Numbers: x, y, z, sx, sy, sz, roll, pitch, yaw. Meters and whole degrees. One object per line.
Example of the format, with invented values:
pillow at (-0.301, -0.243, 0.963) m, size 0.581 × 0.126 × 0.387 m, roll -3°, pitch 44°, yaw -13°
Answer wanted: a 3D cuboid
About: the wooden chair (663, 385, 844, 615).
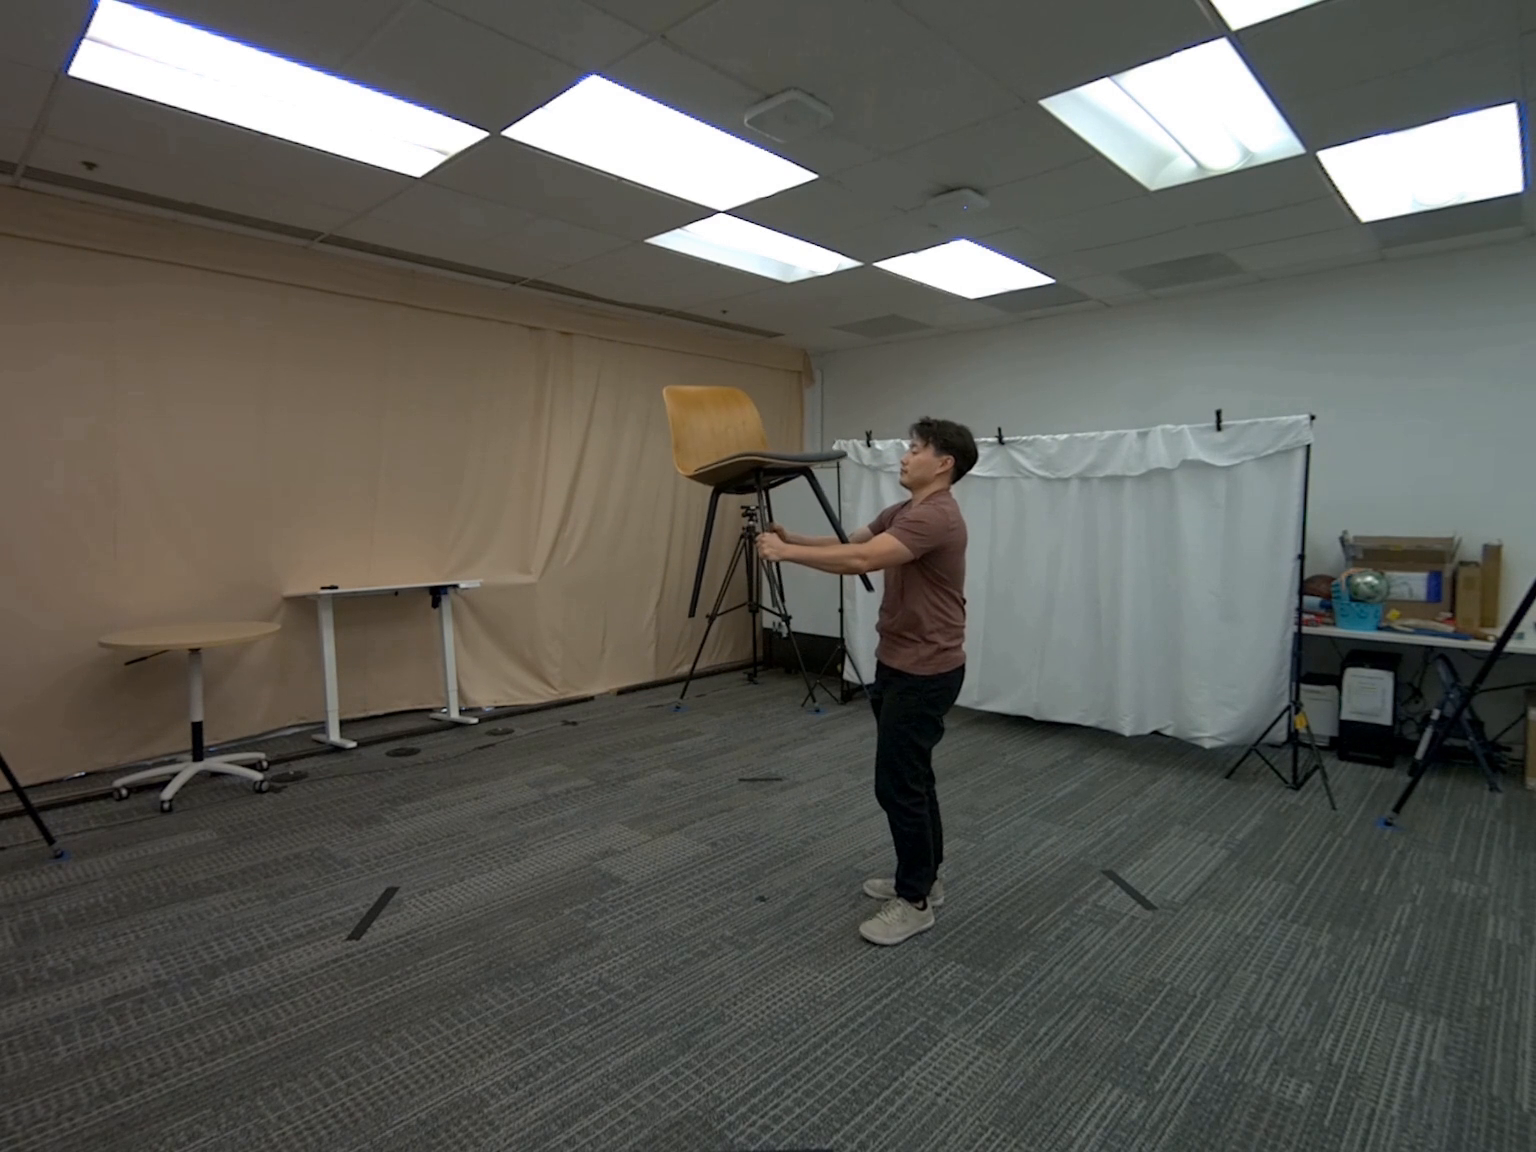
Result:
wooden chair at (-0.012, -0.320, 2.869) m, size 0.464 × 0.882 × 0.535 m, roll -6°, pitch -8°, yaw -39°
